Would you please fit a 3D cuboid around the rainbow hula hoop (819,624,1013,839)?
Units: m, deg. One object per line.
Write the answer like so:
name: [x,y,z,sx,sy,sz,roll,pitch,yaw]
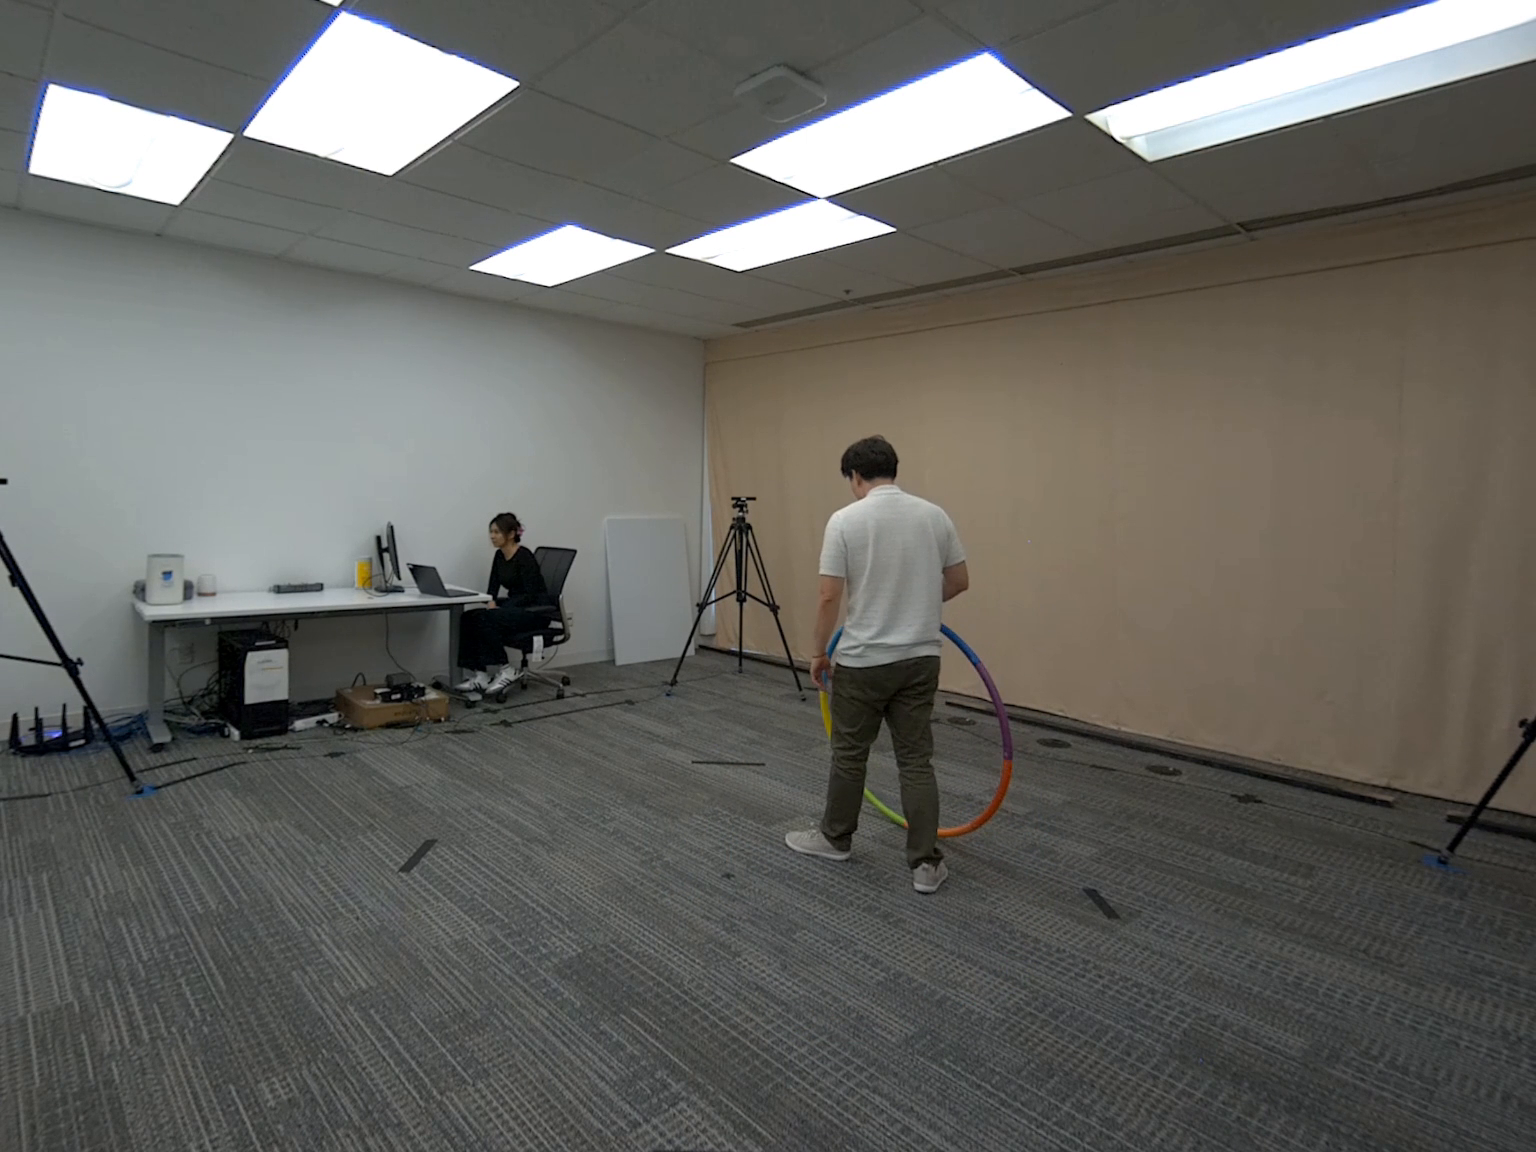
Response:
rainbow hula hoop: [0.568,0.605,3.525,0.035,0.972,1.004,-11,11,-39]
